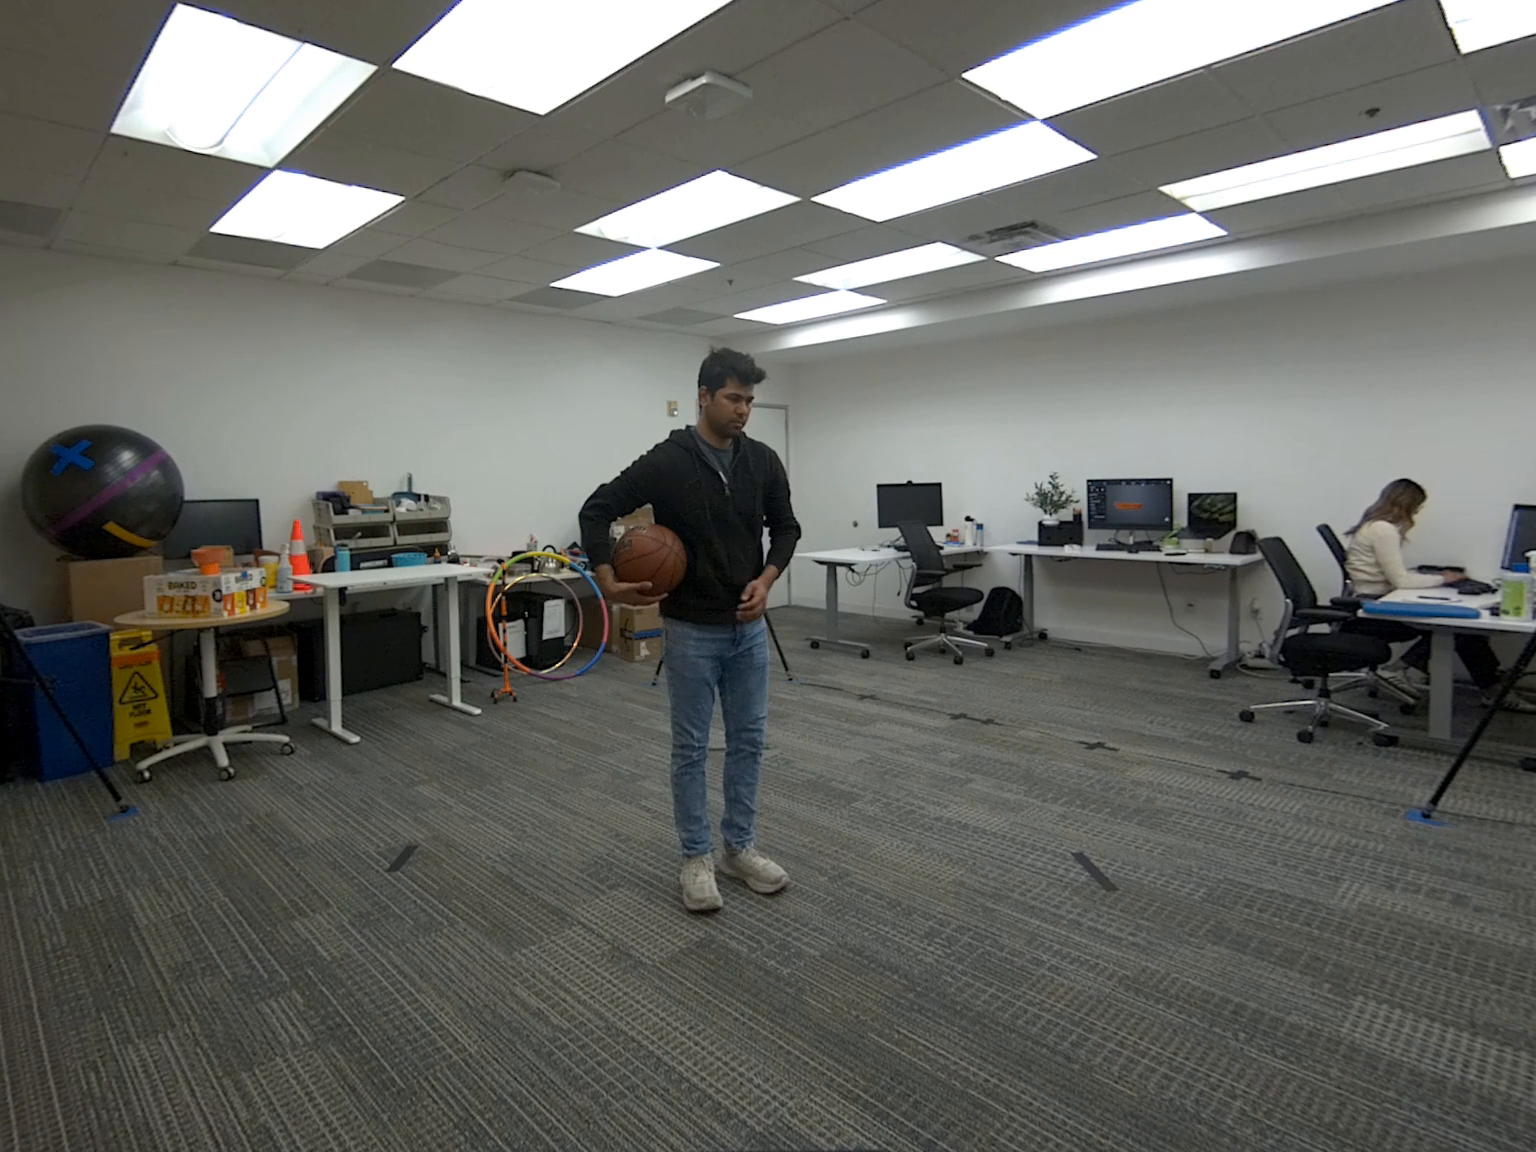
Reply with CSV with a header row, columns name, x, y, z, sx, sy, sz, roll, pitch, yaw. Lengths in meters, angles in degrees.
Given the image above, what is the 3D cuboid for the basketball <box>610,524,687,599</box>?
name,x,y,z,sx,sy,sz,roll,pitch,yaw
basketball,-0.384,-0.050,2.722,0.236,0.235,0.237,-1,5,-2
